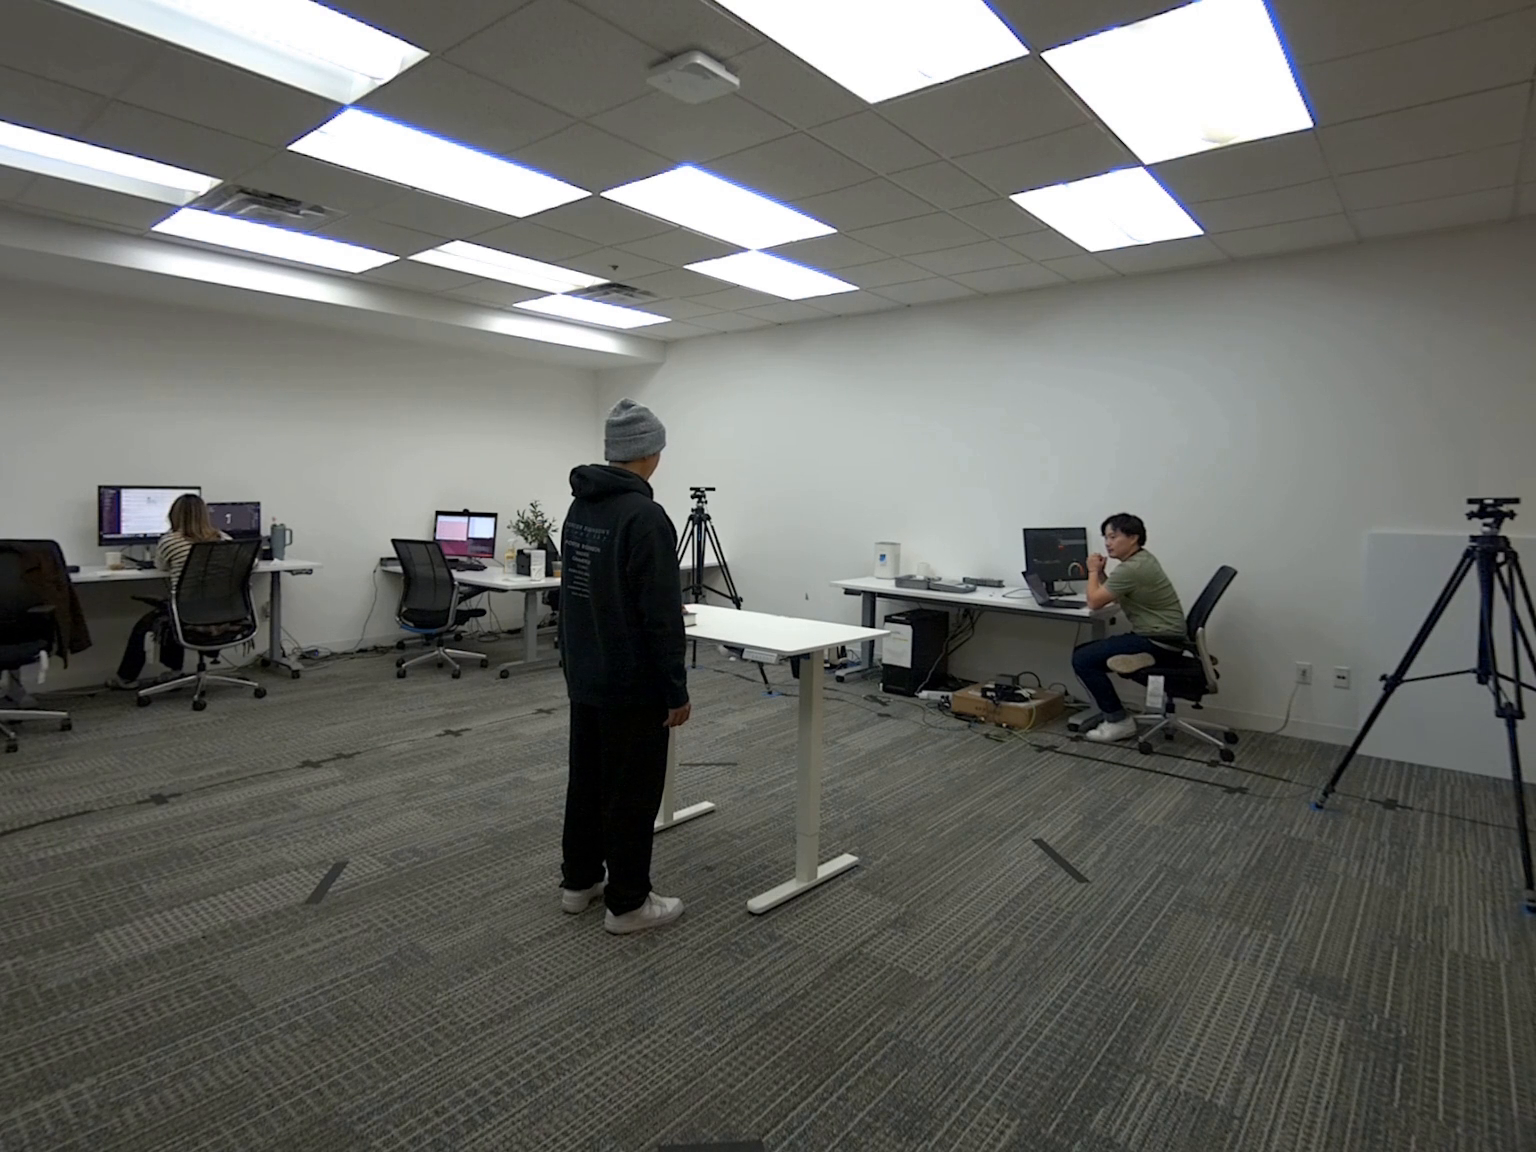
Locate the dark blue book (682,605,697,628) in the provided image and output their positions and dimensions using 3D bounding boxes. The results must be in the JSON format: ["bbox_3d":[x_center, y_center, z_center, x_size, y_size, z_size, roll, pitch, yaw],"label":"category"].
[{"bbox_3d":[-0.406,0.163,3.086,0.168,0.045,0.238,3,5,34],"label":"dark blue book"}]
